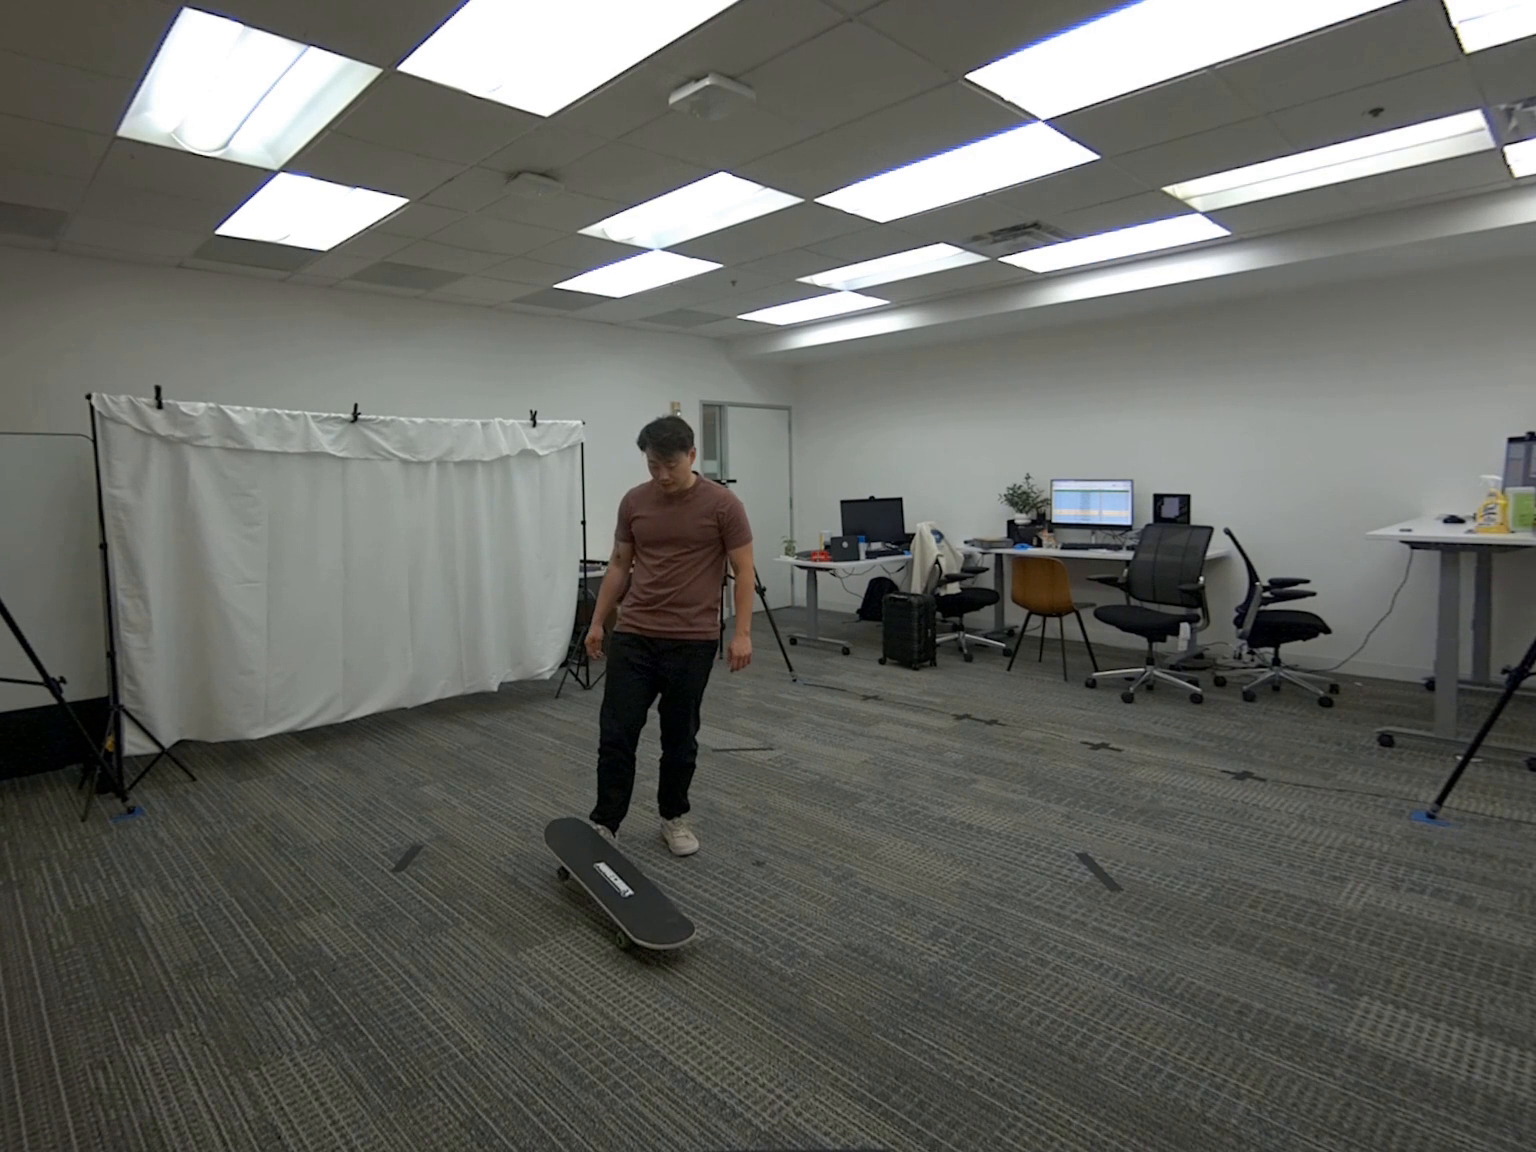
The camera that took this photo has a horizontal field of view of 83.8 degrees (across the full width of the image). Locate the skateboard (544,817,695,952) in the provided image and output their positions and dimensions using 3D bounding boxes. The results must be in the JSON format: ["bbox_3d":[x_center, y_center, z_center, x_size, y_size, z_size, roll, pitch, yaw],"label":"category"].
[{"bbox_3d":[-0.495,1.016,2.764,0.188,0.109,0.813,-6,16,-38],"label":"skateboard"}]
